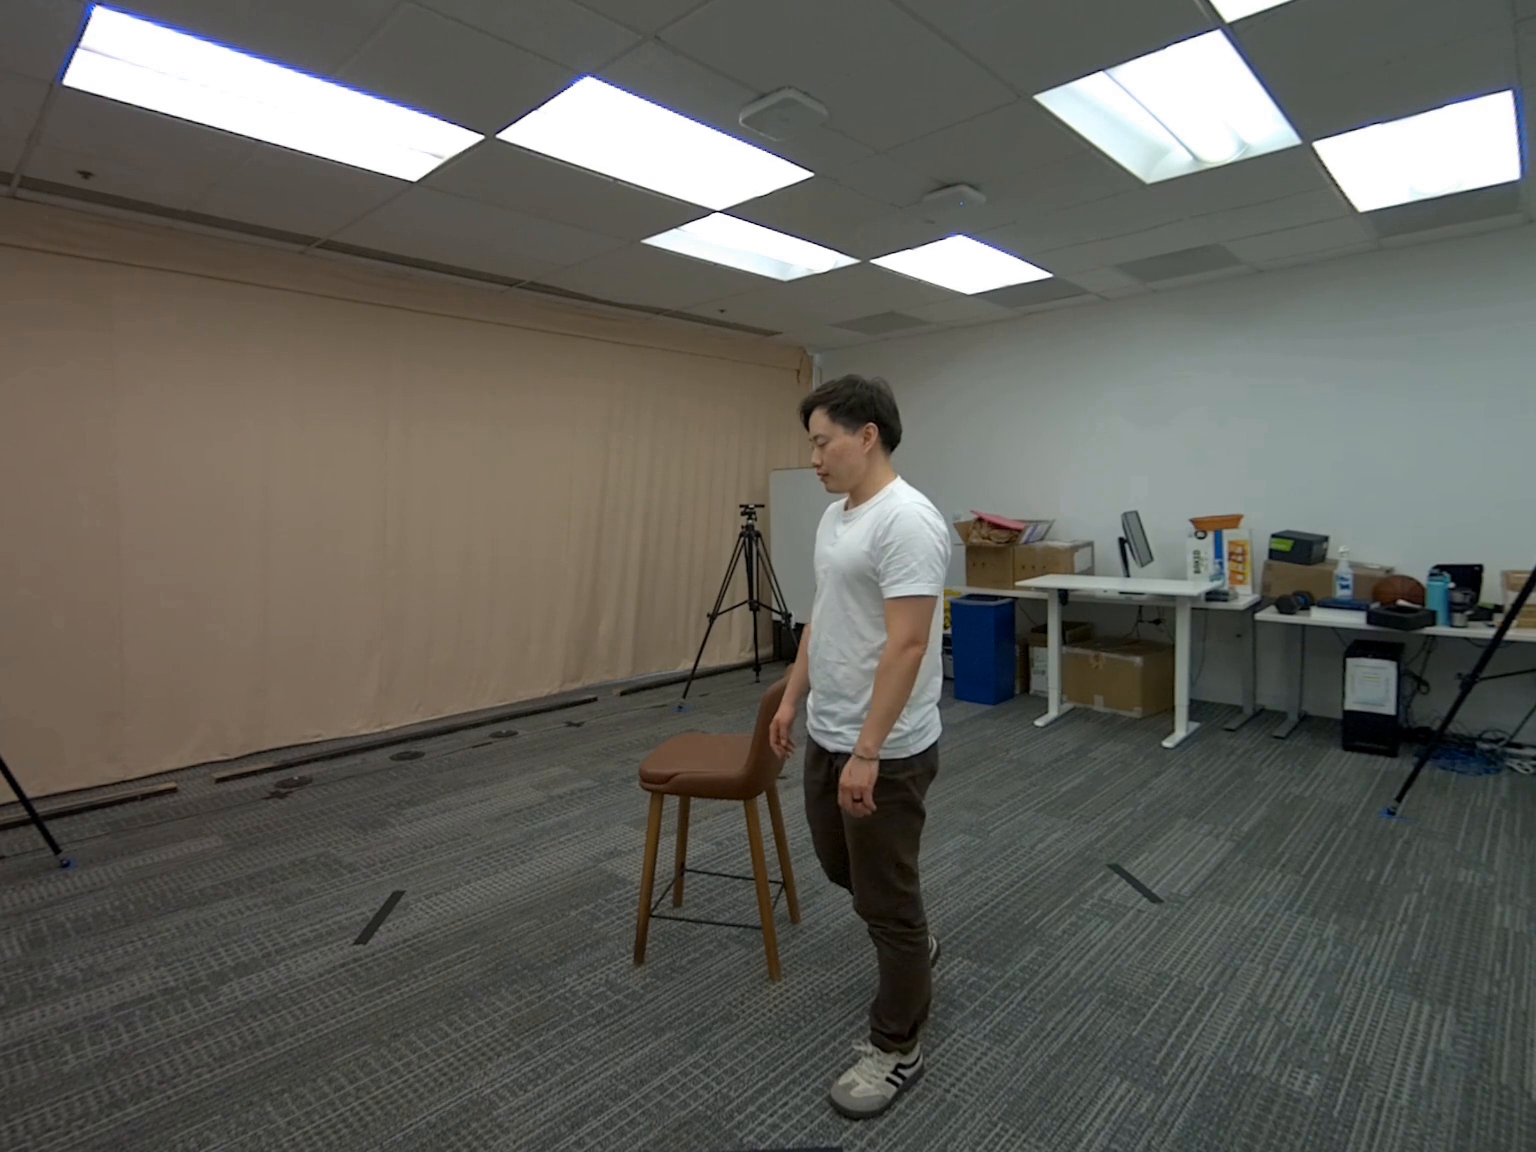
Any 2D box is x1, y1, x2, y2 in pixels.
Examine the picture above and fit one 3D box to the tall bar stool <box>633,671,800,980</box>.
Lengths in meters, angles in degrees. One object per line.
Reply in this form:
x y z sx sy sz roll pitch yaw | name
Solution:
-0.149 0.736 2.667 0.476 0.887 0.450 1 4 15 | tall bar stool
